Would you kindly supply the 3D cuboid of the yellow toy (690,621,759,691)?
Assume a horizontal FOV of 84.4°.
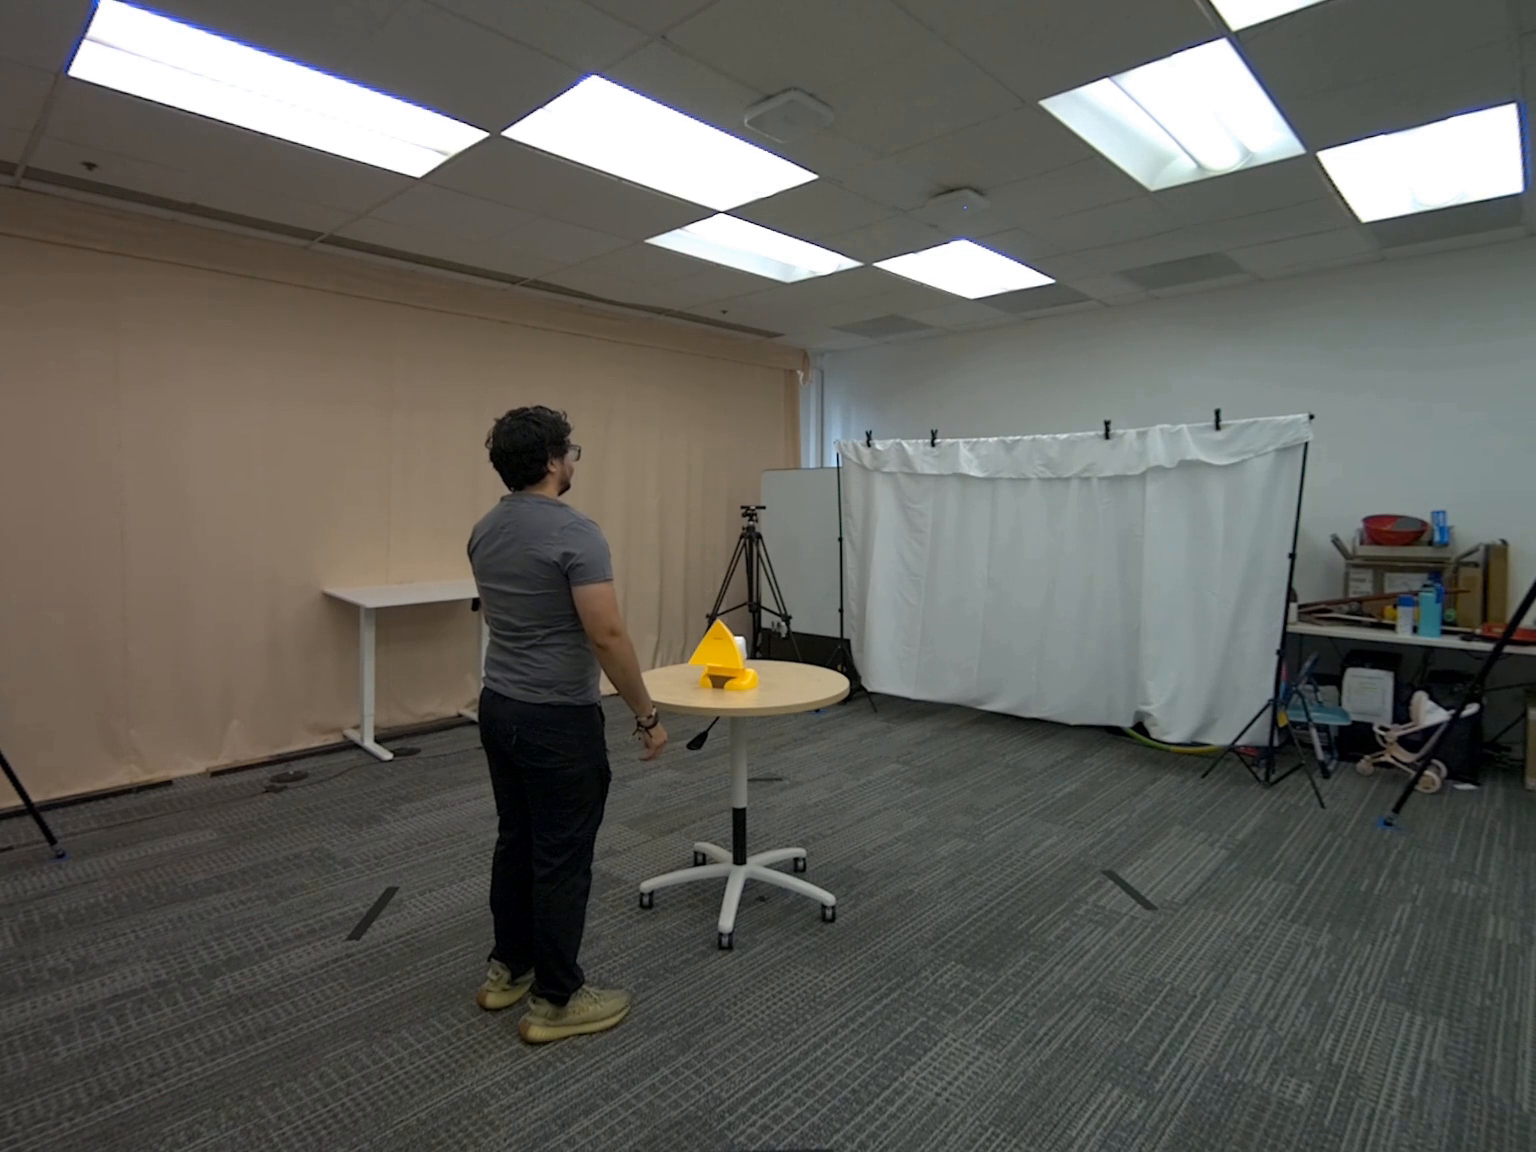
[{"bbox_3d":[-0.135,0.256,2.861,0.210,0.230,0.188,1,4,27],"label":"yellow toy"}]
